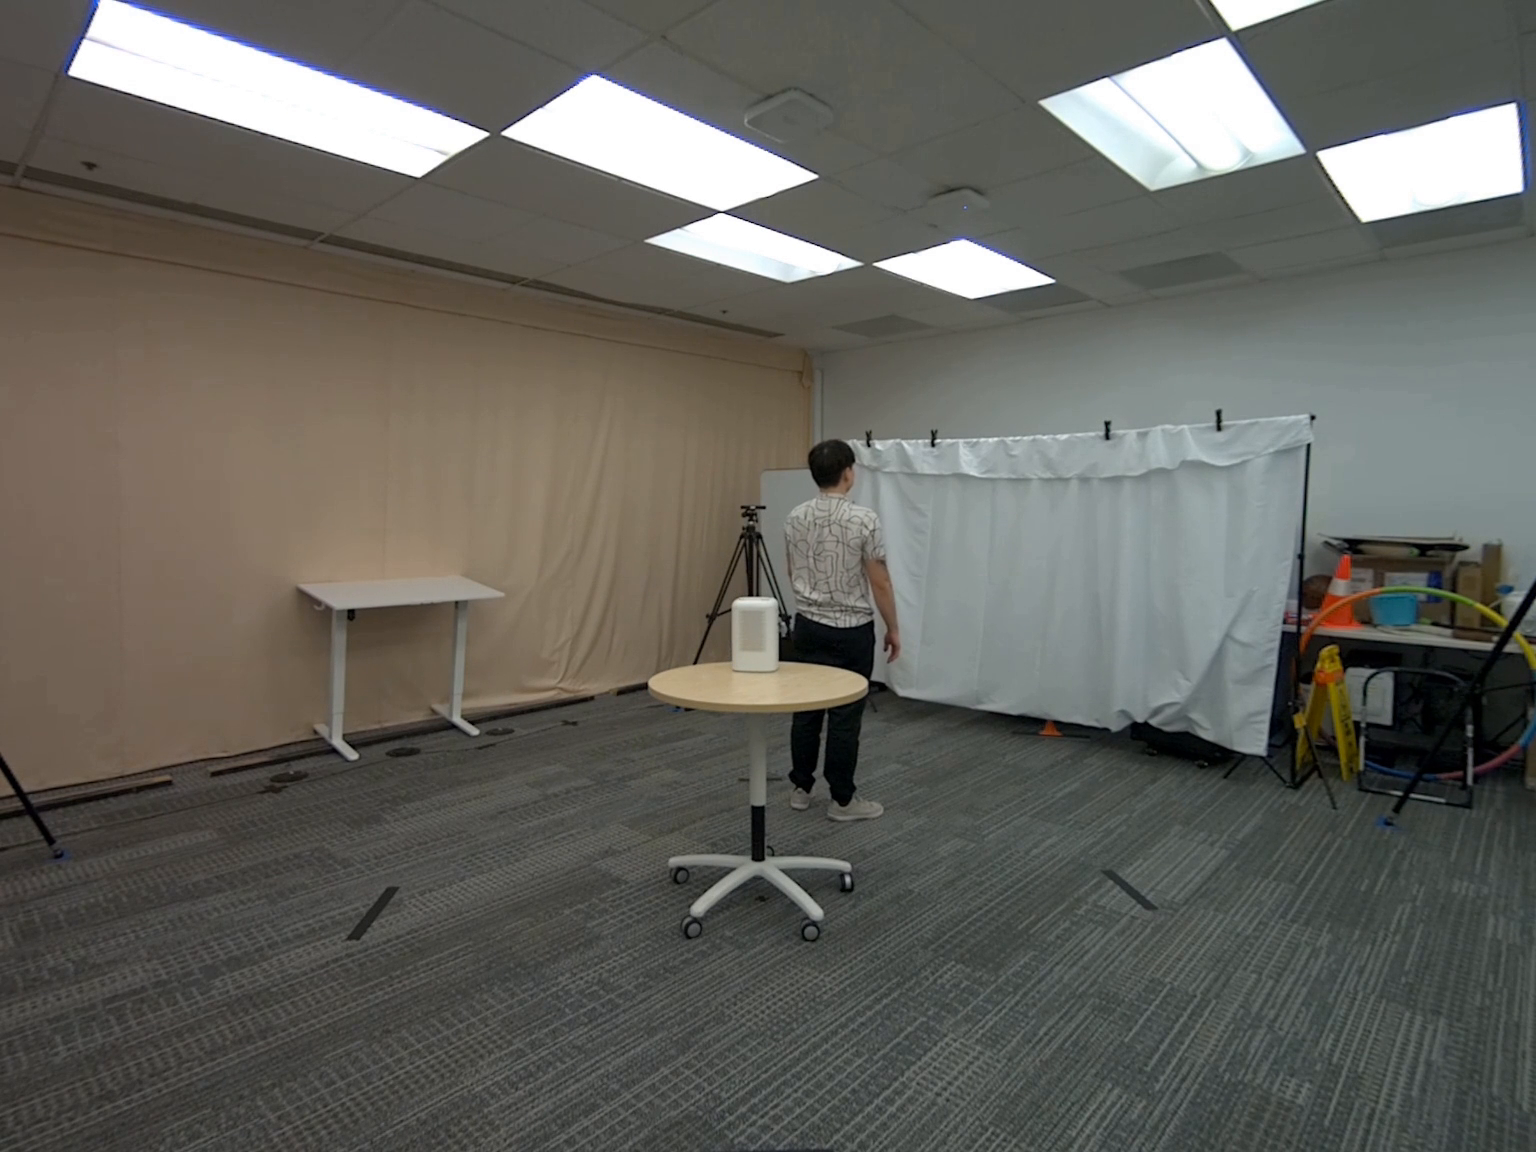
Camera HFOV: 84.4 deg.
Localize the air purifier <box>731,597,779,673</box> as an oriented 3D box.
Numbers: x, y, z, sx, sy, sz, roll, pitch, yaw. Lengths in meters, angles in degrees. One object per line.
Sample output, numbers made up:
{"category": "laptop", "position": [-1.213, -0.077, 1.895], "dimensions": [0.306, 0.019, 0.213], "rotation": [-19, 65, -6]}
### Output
{"category": "air purifier", "position": [-0.041, 0.215, 3.177], "dimensions": [0.174, 0.265, 0.169], "rotation": [-1, 1, 10]}
